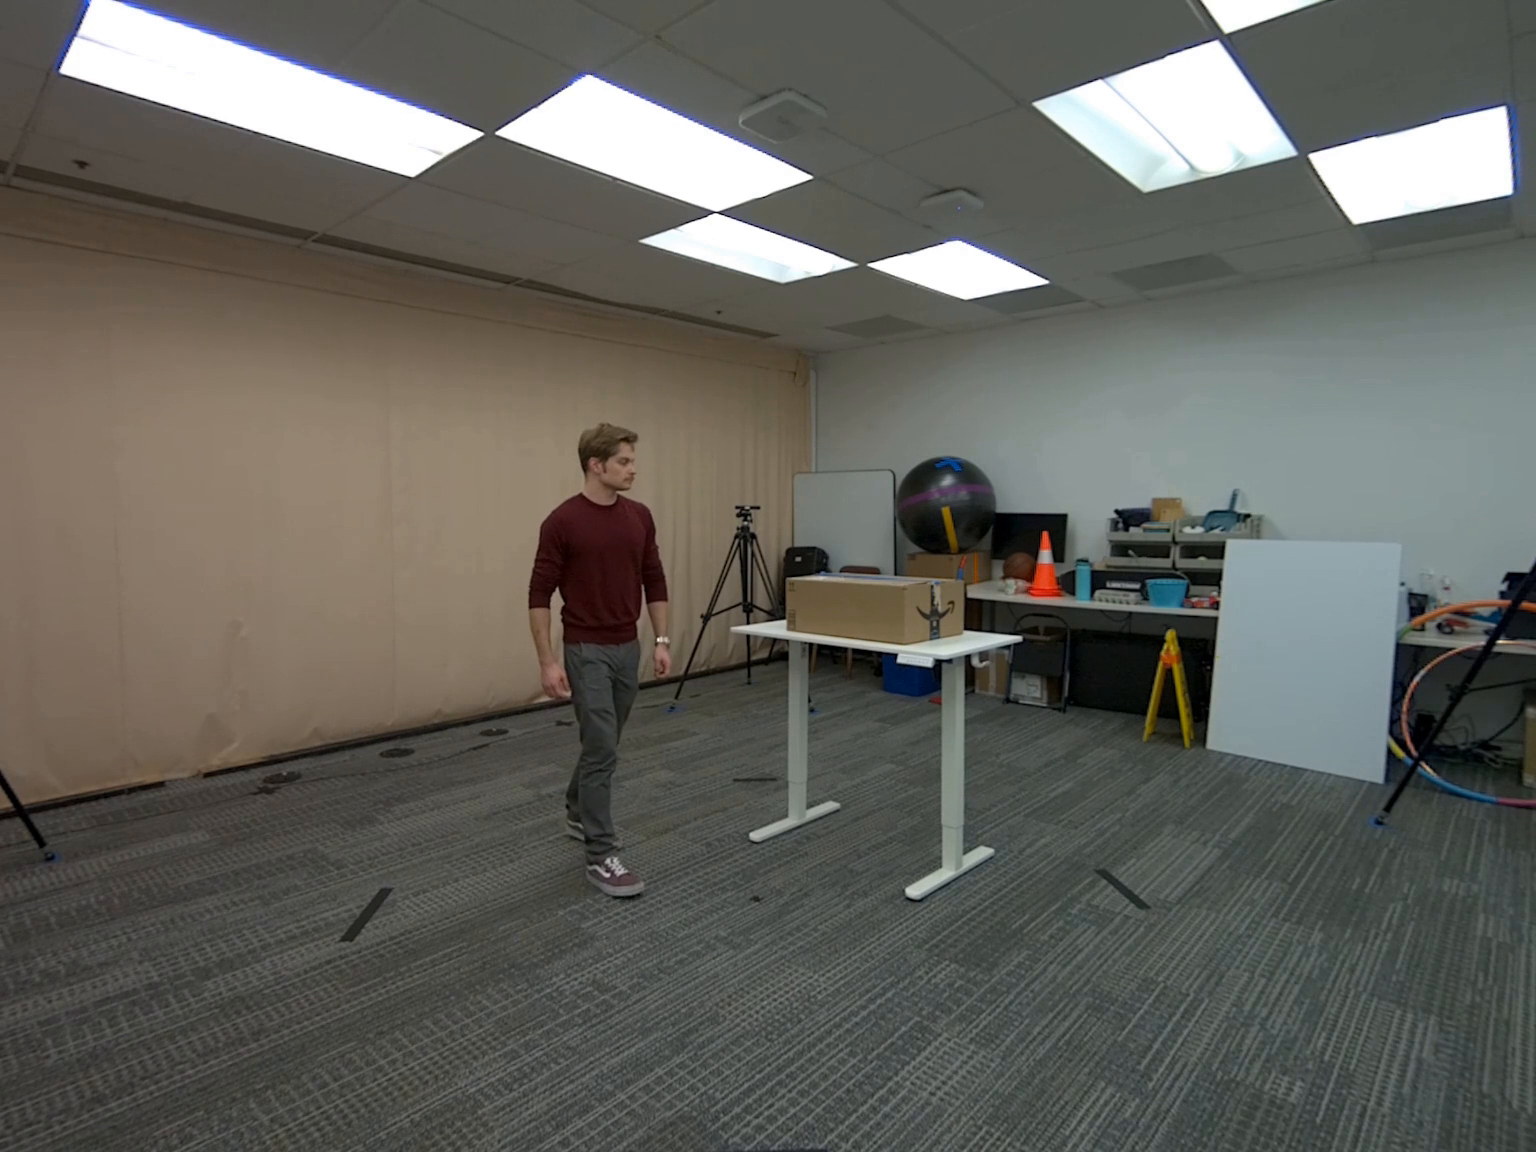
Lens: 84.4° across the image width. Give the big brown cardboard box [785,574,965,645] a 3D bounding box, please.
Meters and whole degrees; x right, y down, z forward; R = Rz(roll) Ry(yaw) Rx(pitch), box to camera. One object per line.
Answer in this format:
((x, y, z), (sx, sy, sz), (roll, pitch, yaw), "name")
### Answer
((0.427, 0.120, 3.386), (0.609, 0.232, 0.405), (5, 6, 43), "big brown cardboard box")
